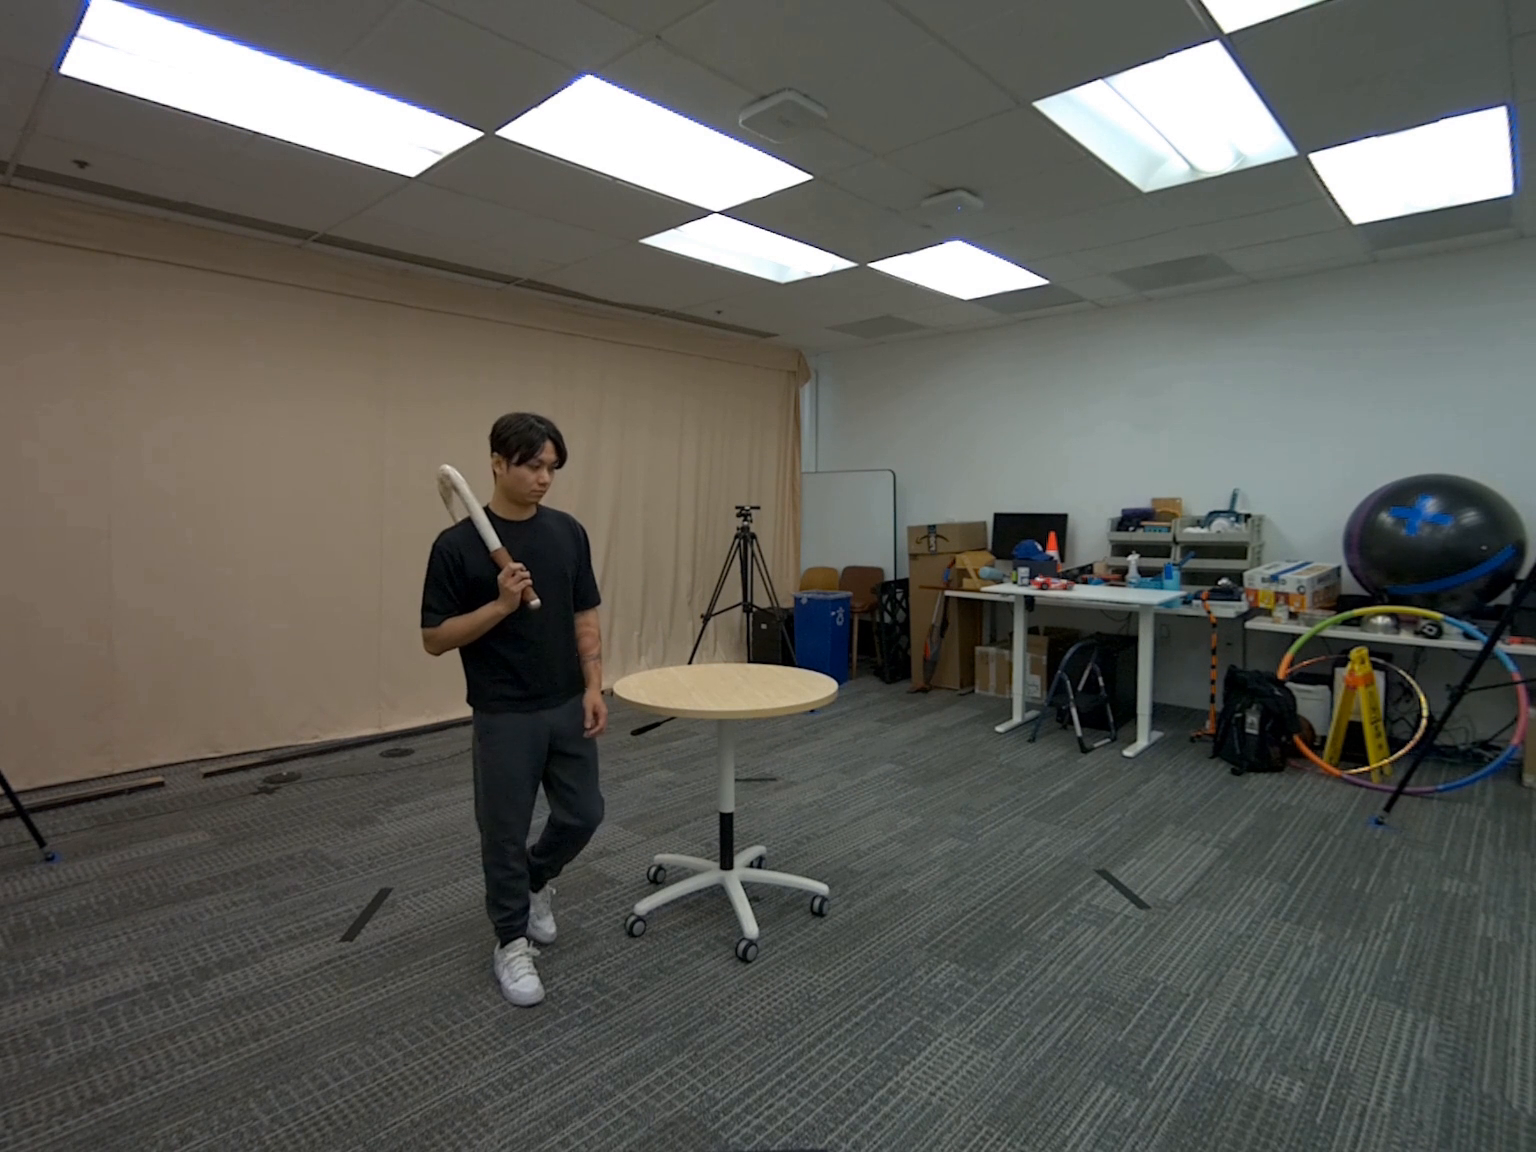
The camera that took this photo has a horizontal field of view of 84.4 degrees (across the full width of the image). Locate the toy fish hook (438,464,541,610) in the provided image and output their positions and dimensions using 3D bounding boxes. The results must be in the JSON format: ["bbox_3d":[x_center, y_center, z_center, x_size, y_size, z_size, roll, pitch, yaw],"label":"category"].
[{"bbox_3d":[-0.792,-0.091,2.377,0.047,0.514,0.225,-29,-14,-29],"label":"toy fish hook"}]
